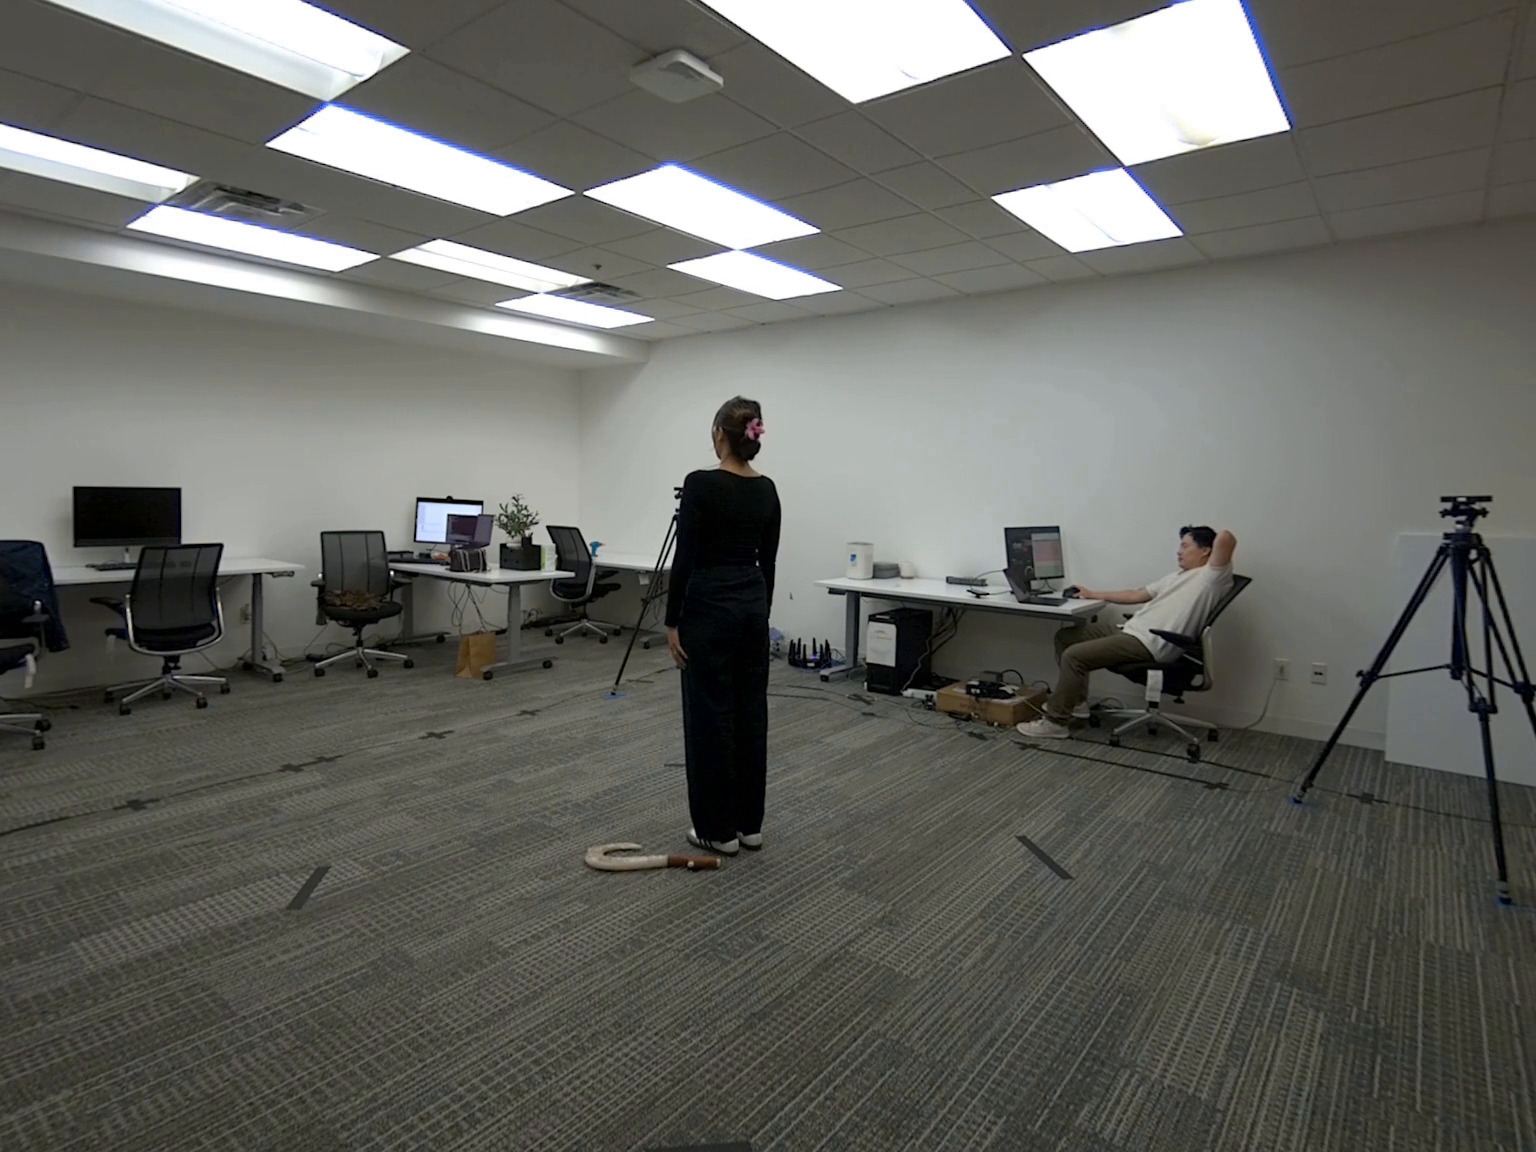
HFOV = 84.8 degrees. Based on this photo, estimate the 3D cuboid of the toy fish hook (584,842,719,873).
[{"bbox_3d":[-0.431,1.033,3.162,0.507,0.048,0.225,1,6,0],"label":"toy fish hook"}]
